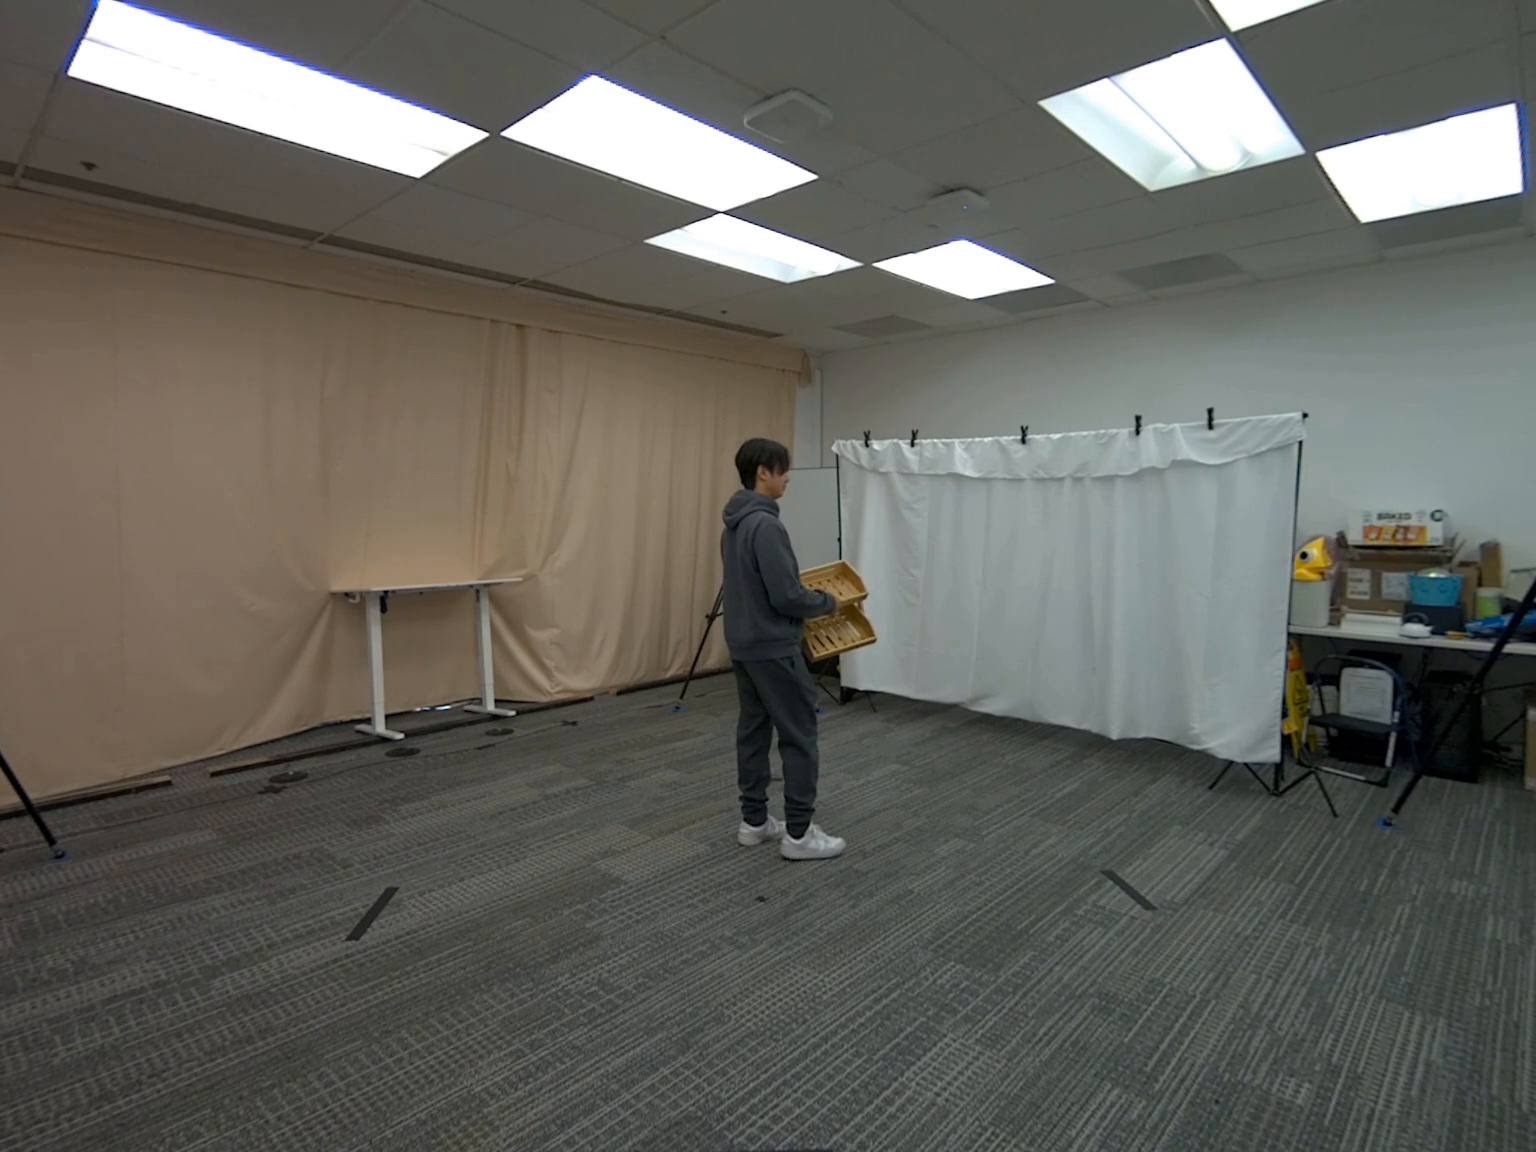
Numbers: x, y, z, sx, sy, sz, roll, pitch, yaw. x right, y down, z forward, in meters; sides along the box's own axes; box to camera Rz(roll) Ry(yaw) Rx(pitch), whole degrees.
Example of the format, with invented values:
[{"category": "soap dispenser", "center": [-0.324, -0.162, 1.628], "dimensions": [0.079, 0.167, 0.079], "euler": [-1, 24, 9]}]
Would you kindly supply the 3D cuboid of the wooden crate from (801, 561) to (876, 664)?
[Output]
[{"category": "wooden crate", "center": [0.268, 0.147, 3.558], "dimensions": [0.319, 0.268, 0.312], "euler": [-15, 35, -19]}]
